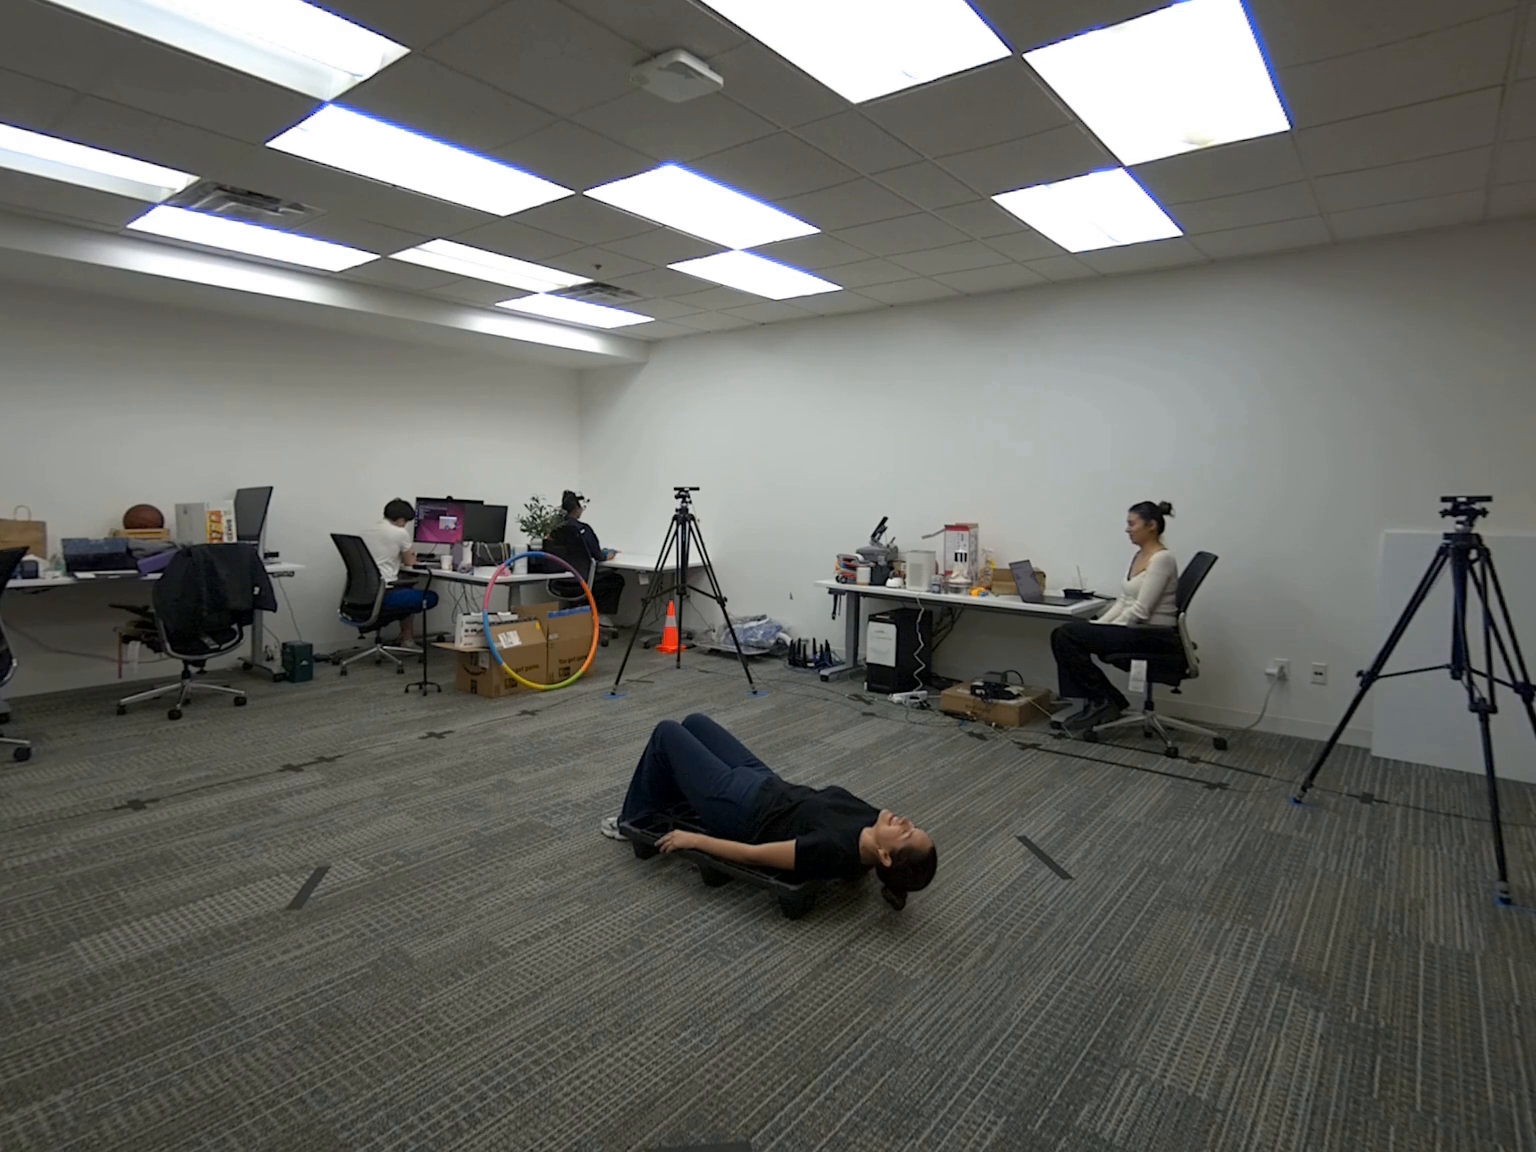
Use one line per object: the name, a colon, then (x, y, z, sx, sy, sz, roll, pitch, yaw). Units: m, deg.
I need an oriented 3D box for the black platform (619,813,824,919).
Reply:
black platform: (-0.042, 0.998, 3.160, 0.832, 0.143, 0.588, 5, 7, 38)
